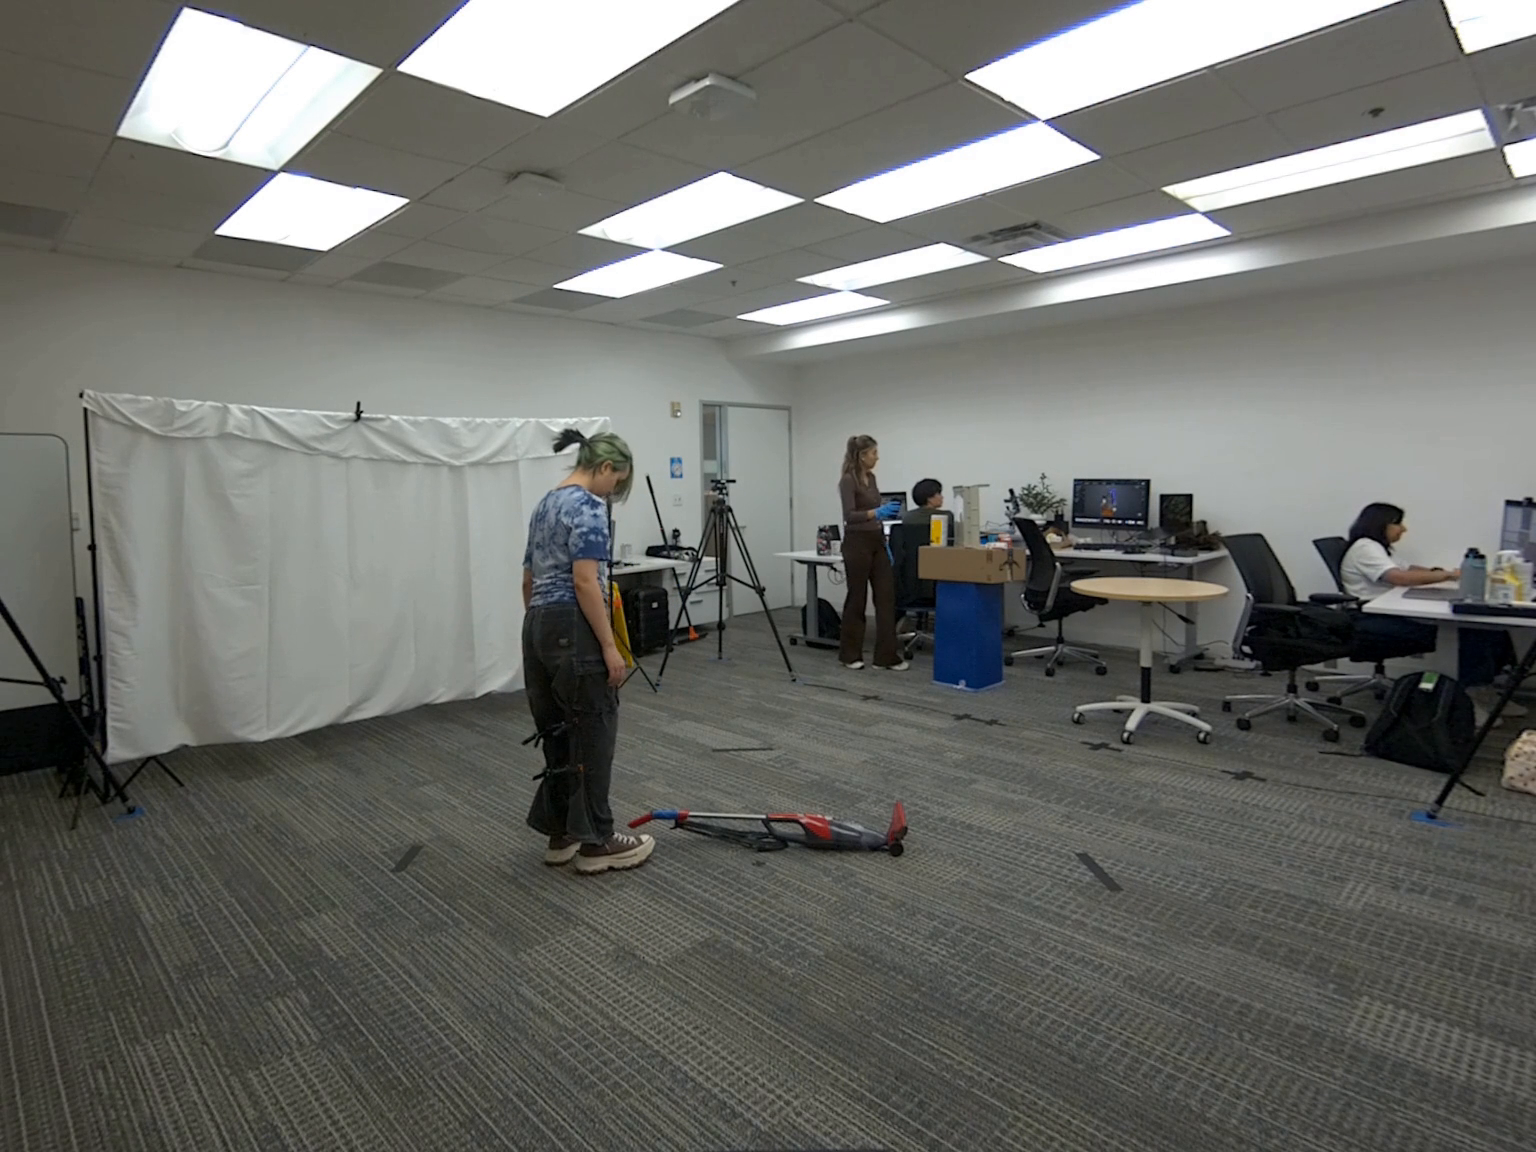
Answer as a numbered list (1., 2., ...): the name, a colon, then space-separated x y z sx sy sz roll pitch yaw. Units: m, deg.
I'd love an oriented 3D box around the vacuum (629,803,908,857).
1. vacuum: -0.023 0.958 3.256 1.055 0.143 0.252 -2 5 6
